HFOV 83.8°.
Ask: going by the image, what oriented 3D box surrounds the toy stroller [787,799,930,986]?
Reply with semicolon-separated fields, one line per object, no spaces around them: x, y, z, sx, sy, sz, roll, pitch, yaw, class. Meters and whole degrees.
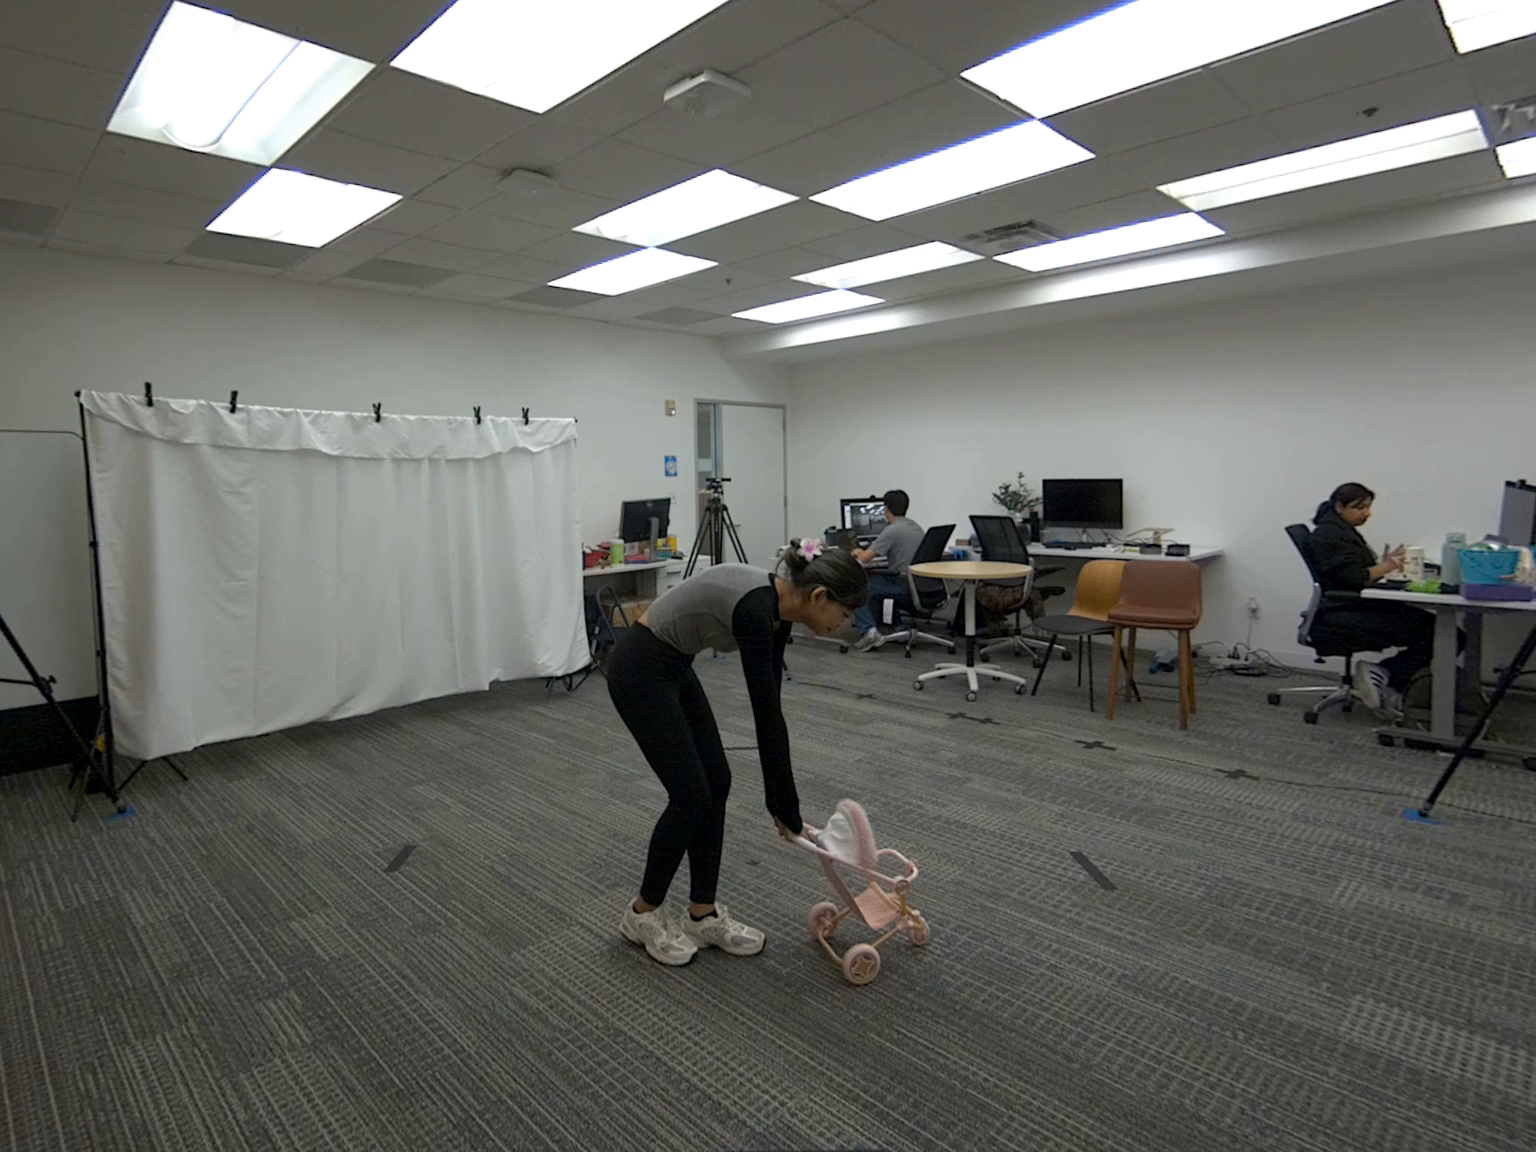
0.273;0.884;2.477;0.339;0.530;0.286;-19;9;-13;toy stroller
